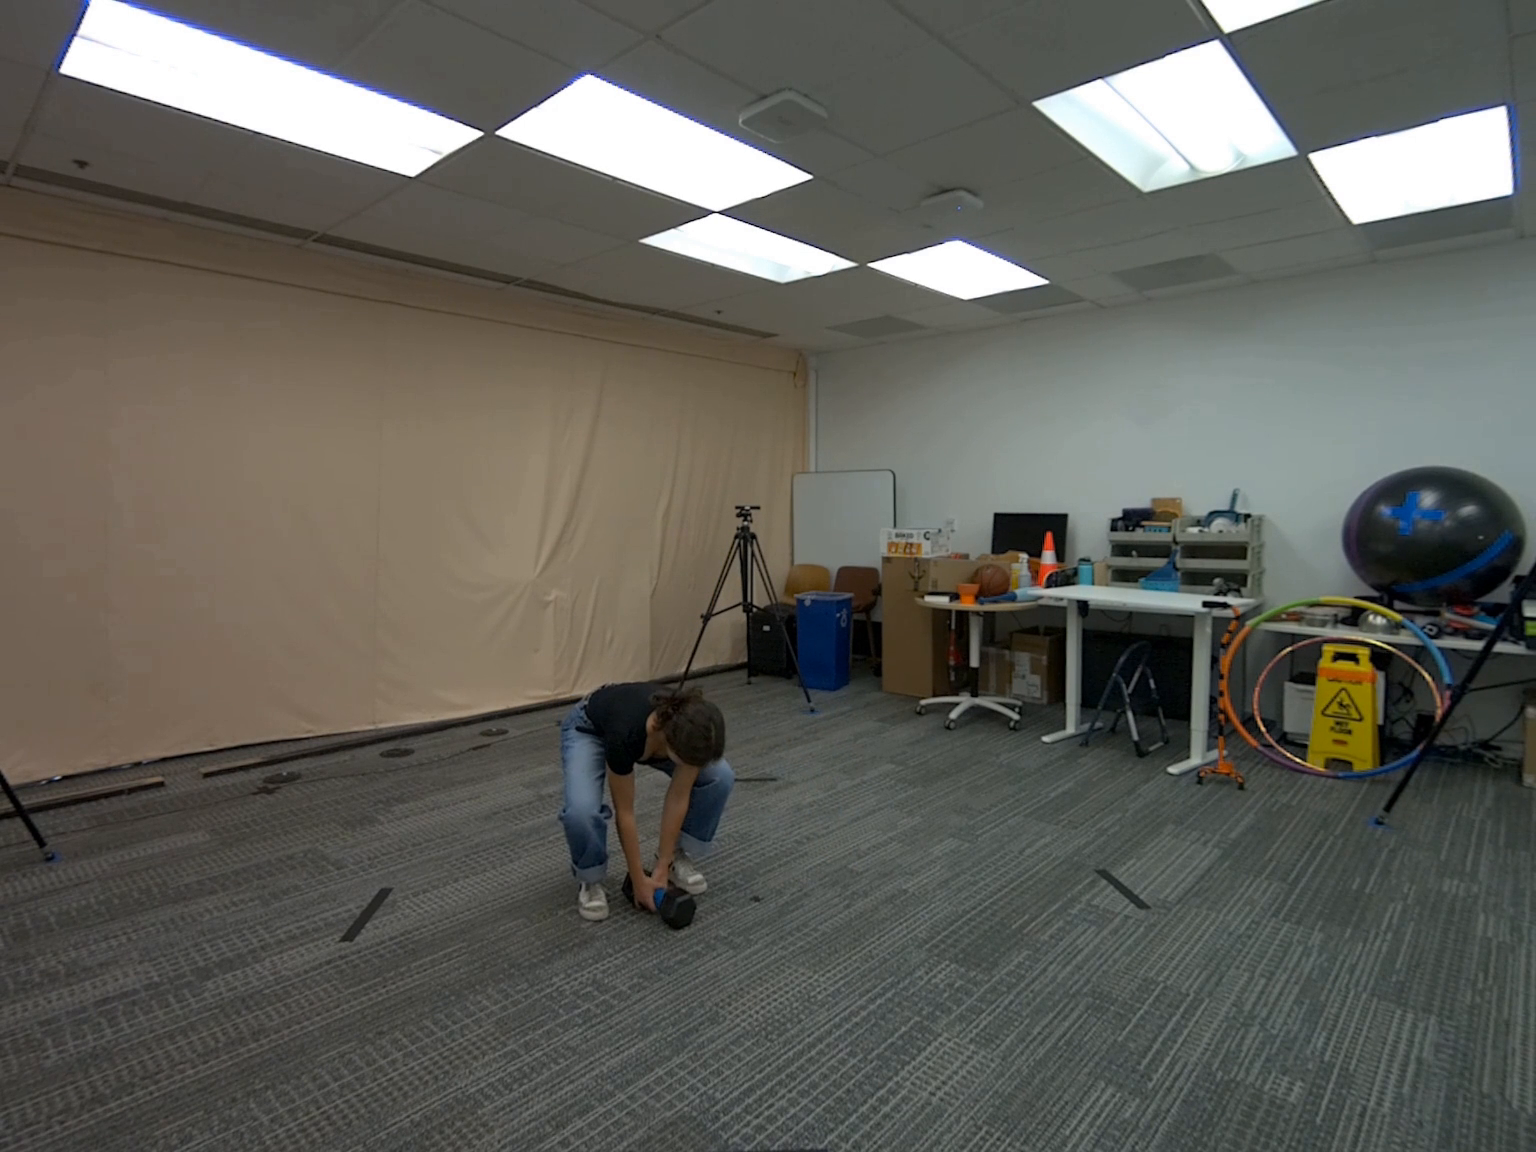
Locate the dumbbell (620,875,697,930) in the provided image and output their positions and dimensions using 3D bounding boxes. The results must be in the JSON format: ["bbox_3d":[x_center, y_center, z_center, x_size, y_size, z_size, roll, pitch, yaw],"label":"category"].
[{"bbox_3d":[-0.373,1.095,2.877,0.303,0.120,0.107,7,40,46],"label":"dumbbell"}]
